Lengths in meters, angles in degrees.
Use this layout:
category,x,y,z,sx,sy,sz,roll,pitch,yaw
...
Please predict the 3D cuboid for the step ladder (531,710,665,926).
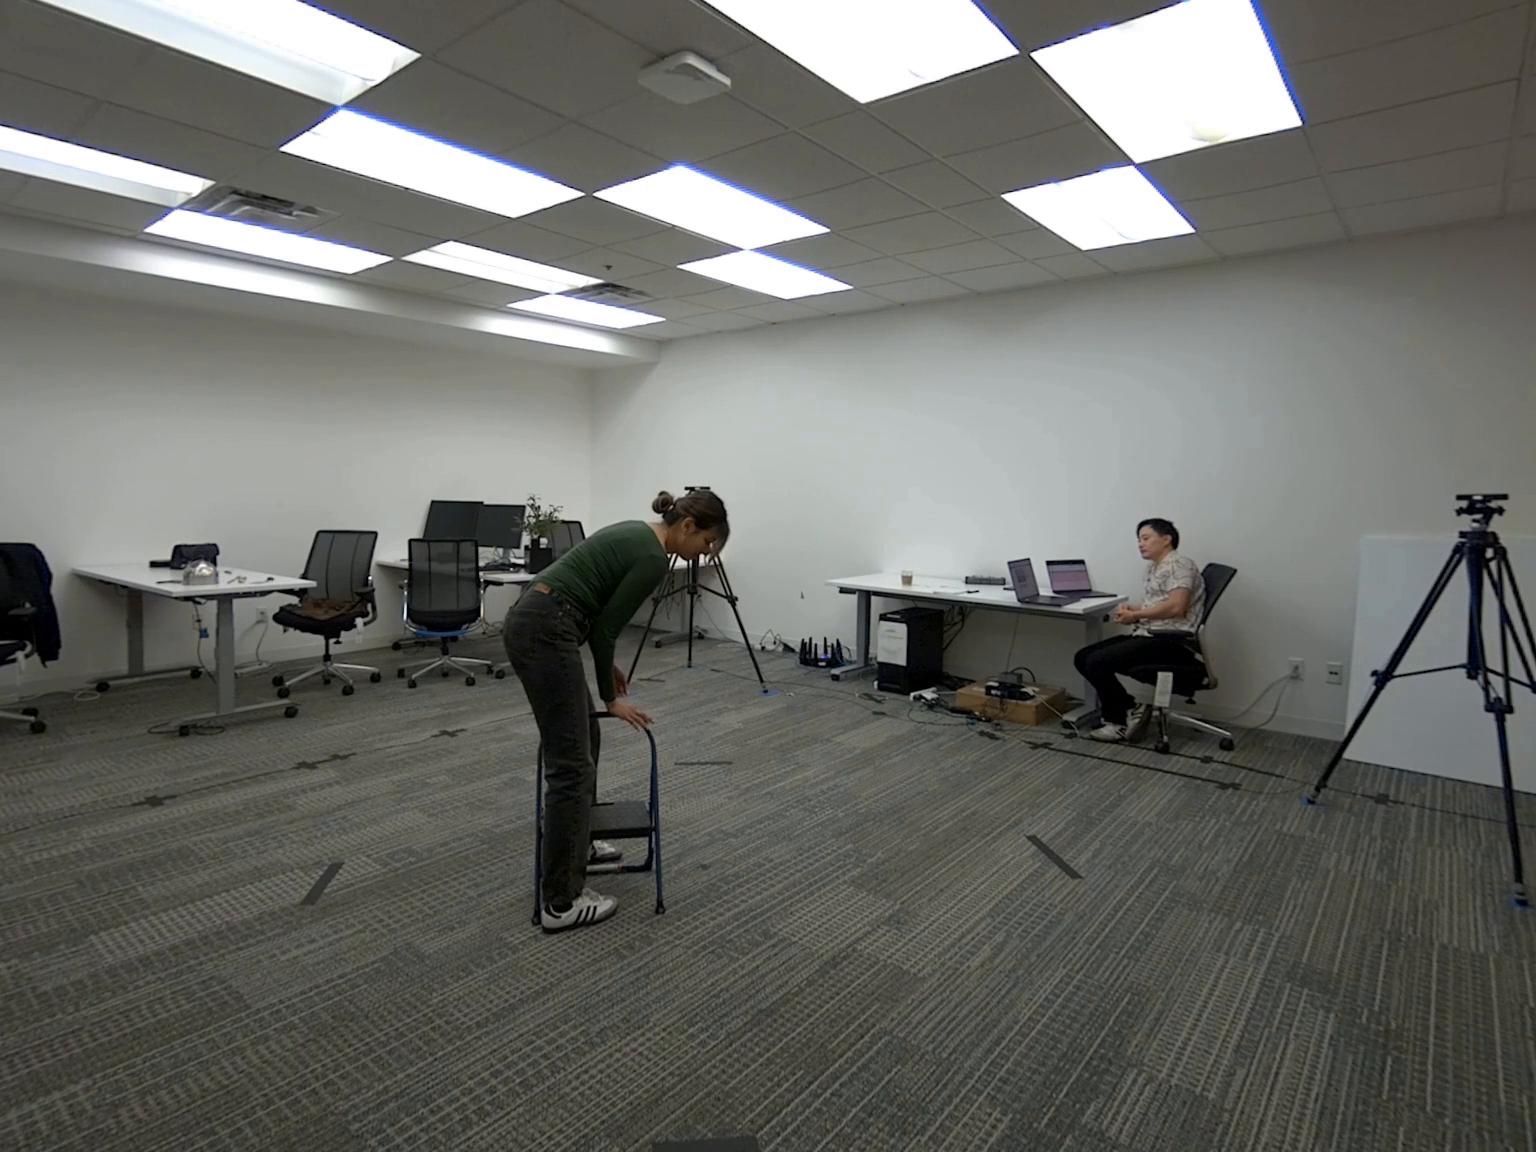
category,x,y,z,sx,sy,sz,roll,pitch,yaw
step ladder,-0.584,0.781,2.892,0.425,0.605,0.354,-1,3,-12
